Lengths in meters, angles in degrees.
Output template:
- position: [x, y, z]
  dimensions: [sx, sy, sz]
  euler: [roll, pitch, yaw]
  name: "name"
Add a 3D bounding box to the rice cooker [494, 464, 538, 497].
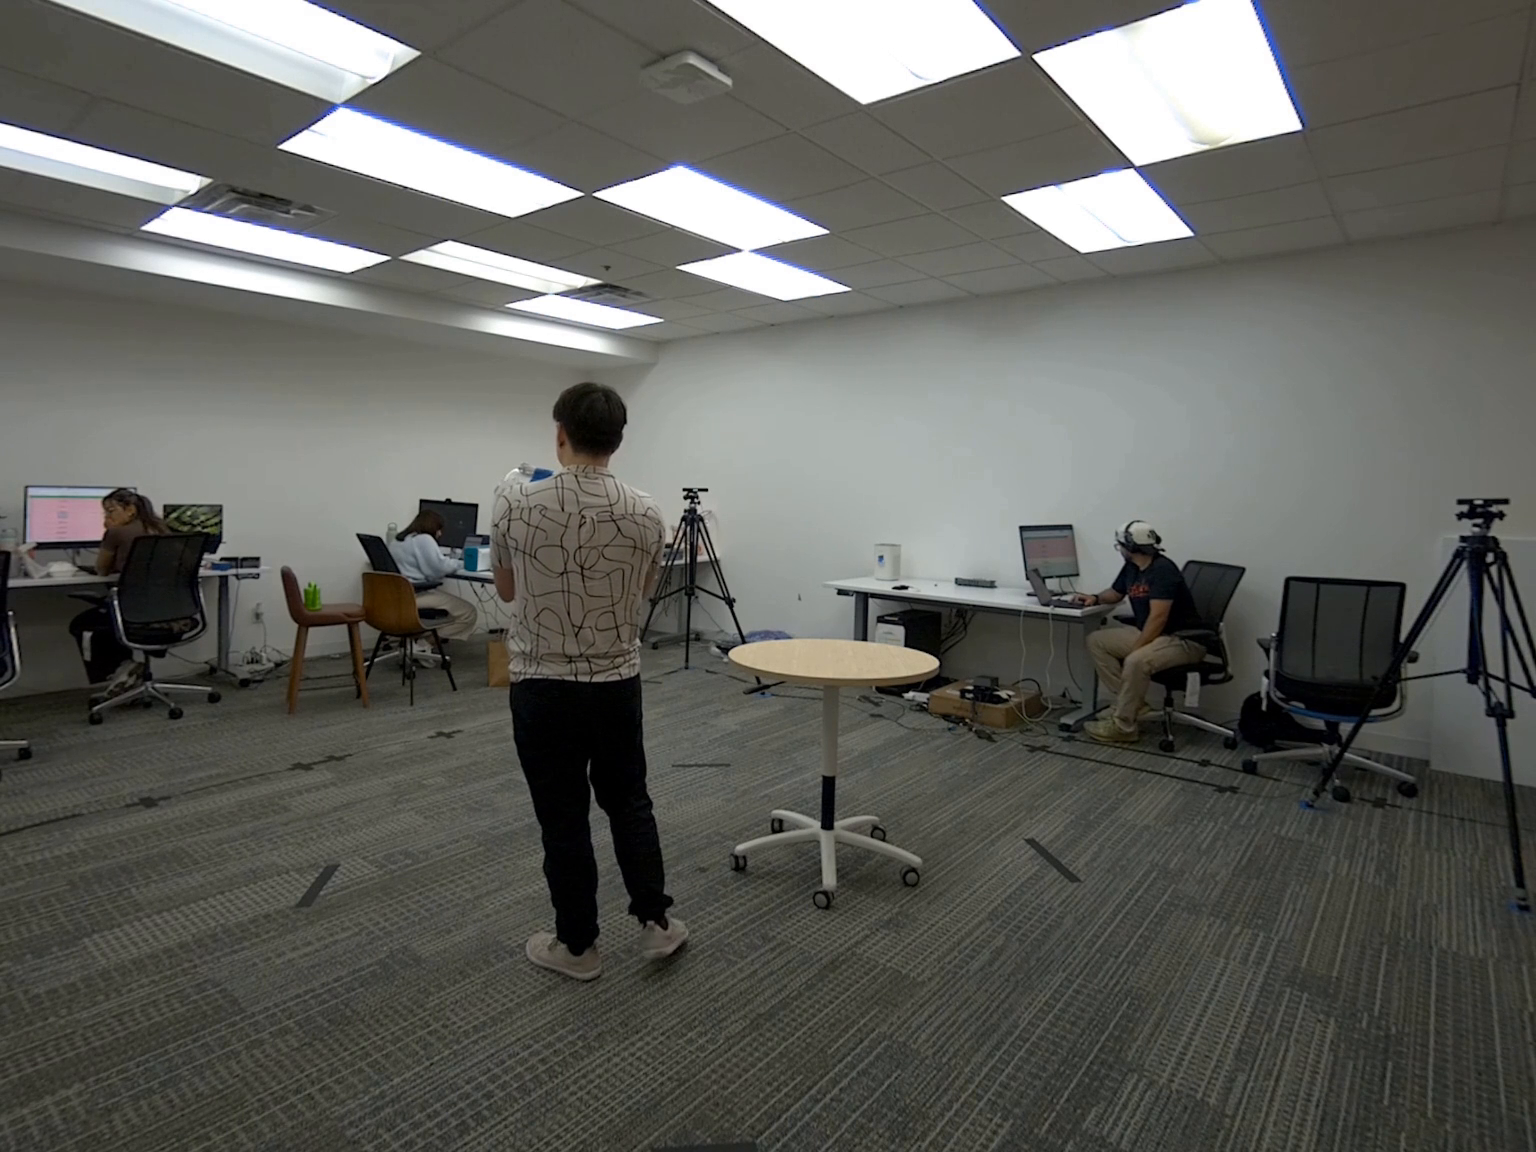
- position: [-0.768, -0.230, 2.718]
  dimensions: [0.236, 0.219, 0.216]
  euler: [19, -20, 8]
  name: "rice cooker"
